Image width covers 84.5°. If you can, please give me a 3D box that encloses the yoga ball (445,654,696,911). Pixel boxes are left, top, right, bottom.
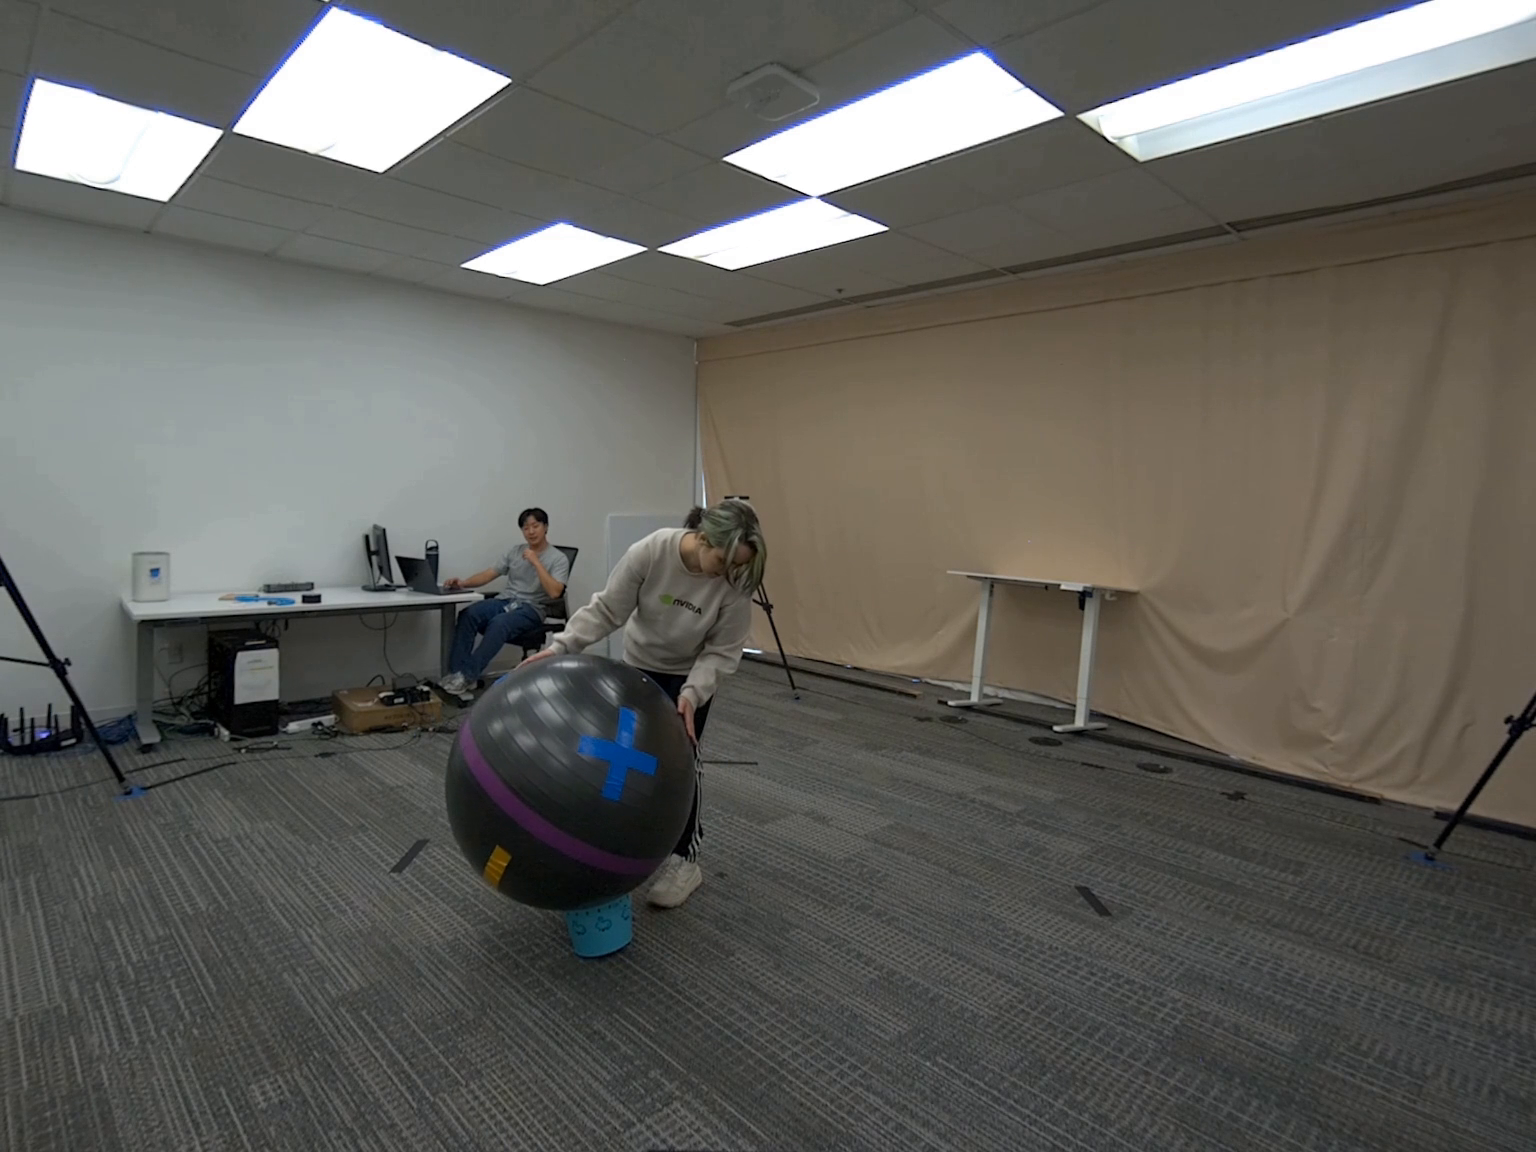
[{"bbox_3d":[-0.602,0.626,2.593,0.757,0.756,0.761,1,4,-1],"label":"yoga ball"}]
